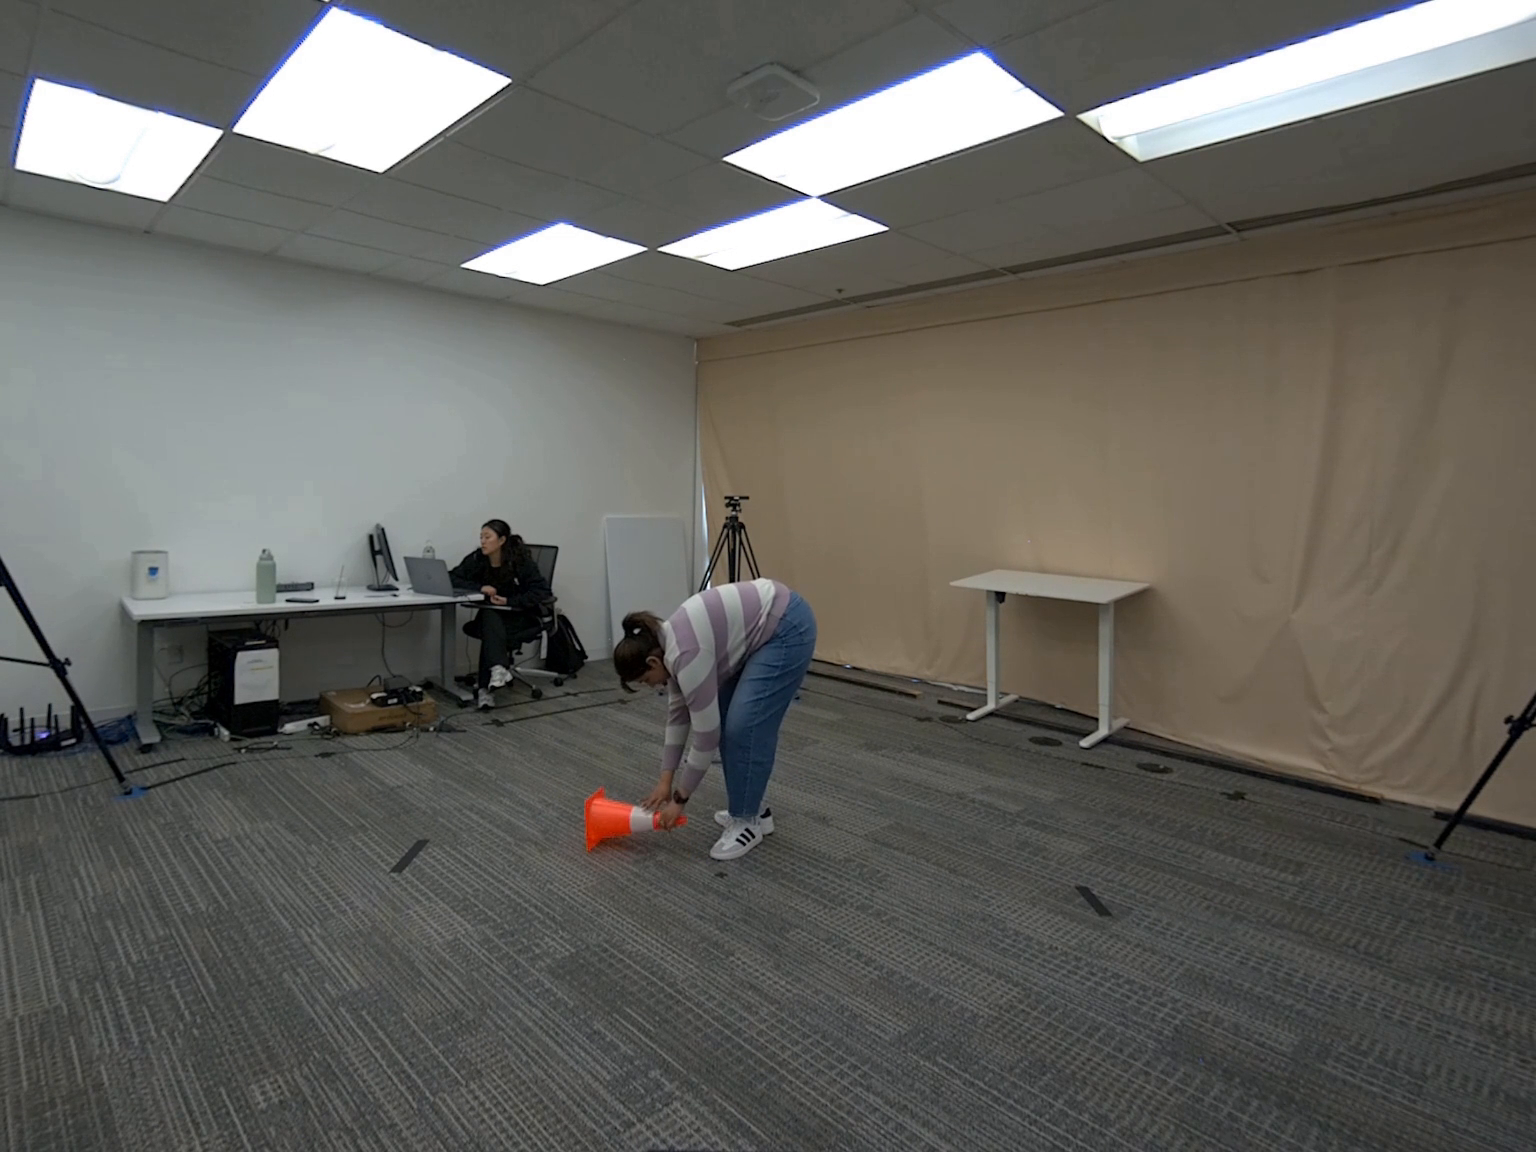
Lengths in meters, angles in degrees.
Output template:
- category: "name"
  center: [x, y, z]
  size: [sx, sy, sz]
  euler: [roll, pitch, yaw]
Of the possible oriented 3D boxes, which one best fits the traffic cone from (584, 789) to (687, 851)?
- category: "traffic cone"
  center: [-0.508, 0.960, 3.318]
  size: [0.387, 0.204, 0.202]
  euler: [-3, 4, 11]
